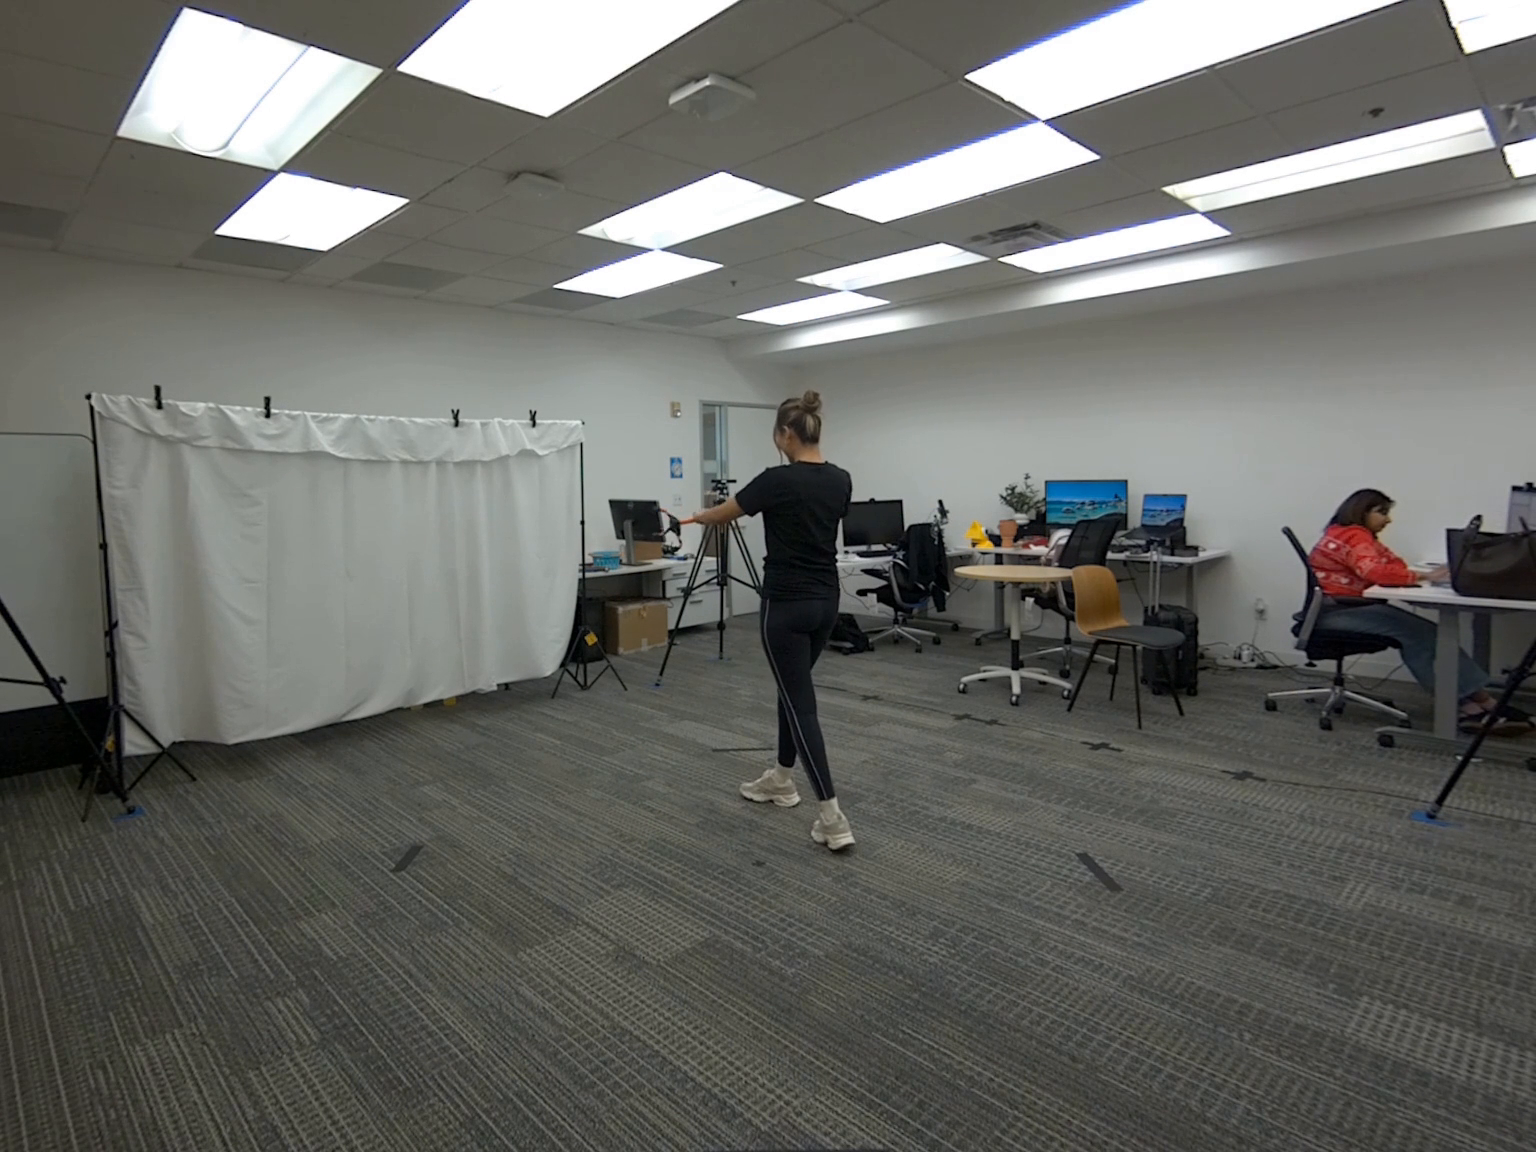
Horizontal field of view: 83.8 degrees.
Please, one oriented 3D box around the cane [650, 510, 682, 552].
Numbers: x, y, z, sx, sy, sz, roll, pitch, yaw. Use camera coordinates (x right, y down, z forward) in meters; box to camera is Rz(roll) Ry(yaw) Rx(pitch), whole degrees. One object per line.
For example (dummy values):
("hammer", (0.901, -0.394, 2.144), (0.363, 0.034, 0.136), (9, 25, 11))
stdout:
("cane", (-0.072, -0.277, 3.869), (0.891, 0.149, 0.214), (-10, 26, -26))
